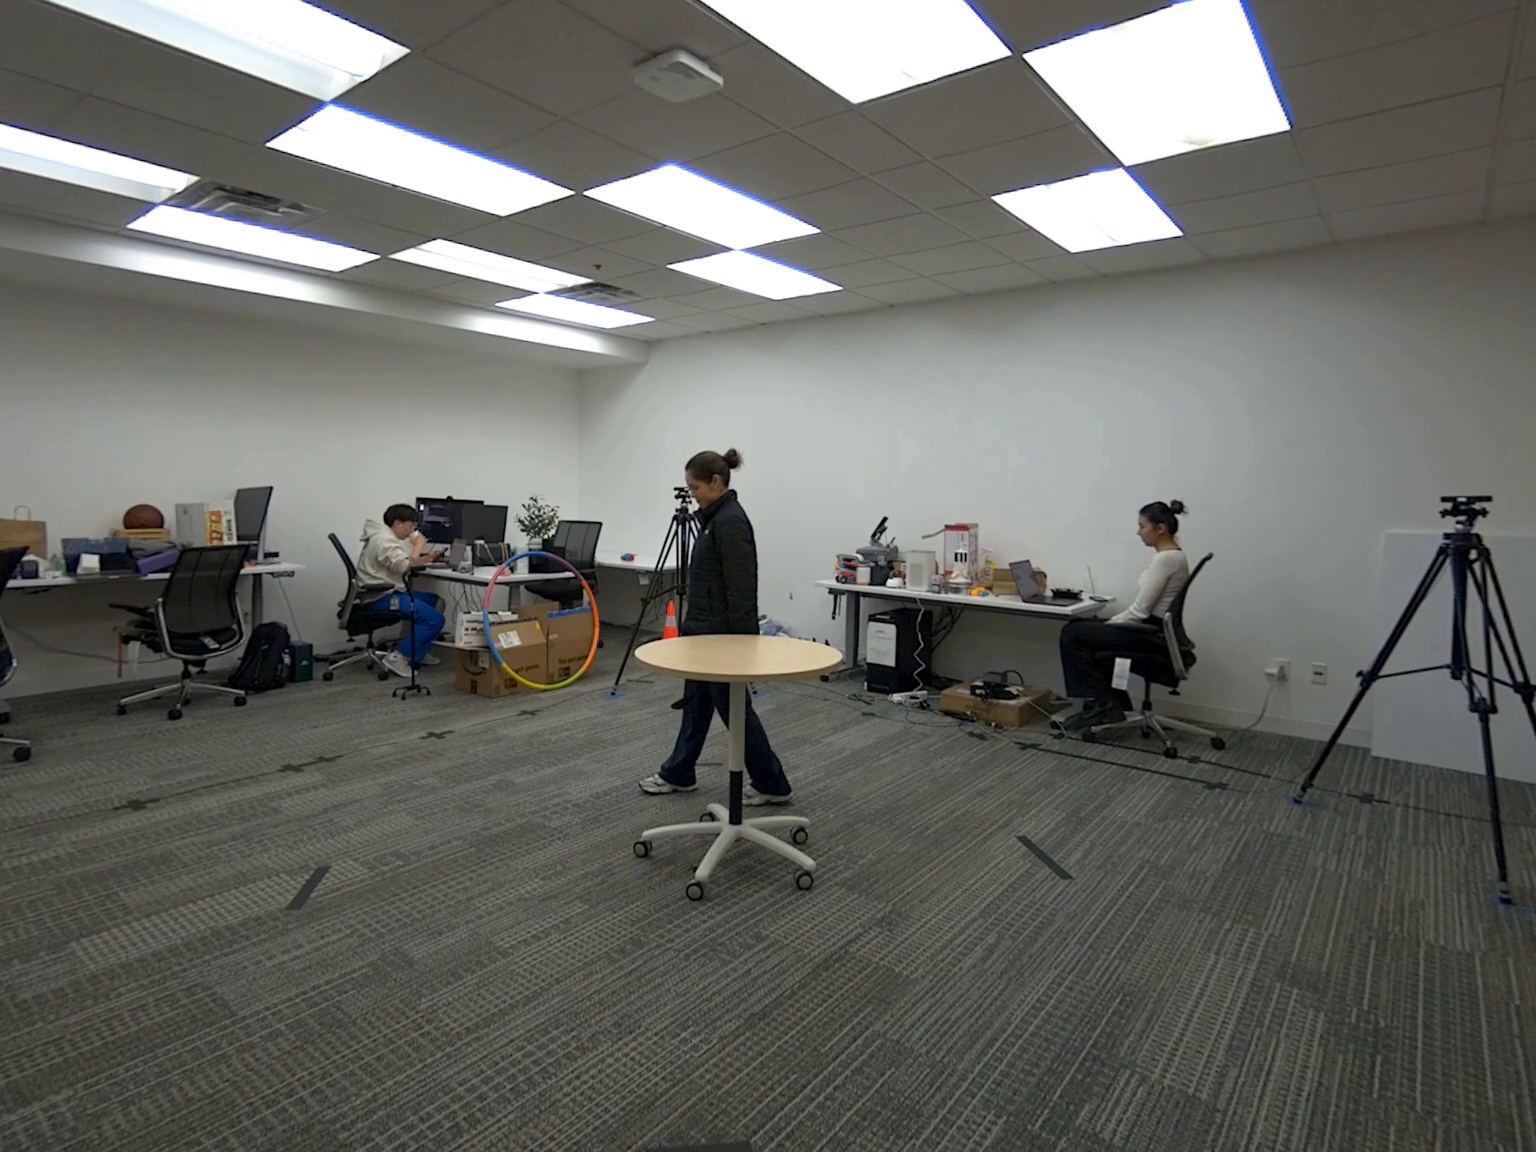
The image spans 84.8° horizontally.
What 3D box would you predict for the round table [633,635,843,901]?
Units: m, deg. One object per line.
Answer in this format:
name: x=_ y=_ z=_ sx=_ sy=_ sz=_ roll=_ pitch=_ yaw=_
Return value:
round table: x=-0.103 y=0.668 z=3.165 sx=0.784 sy=0.784 sz=0.789 roll=1 pitch=4 yaw=-2
